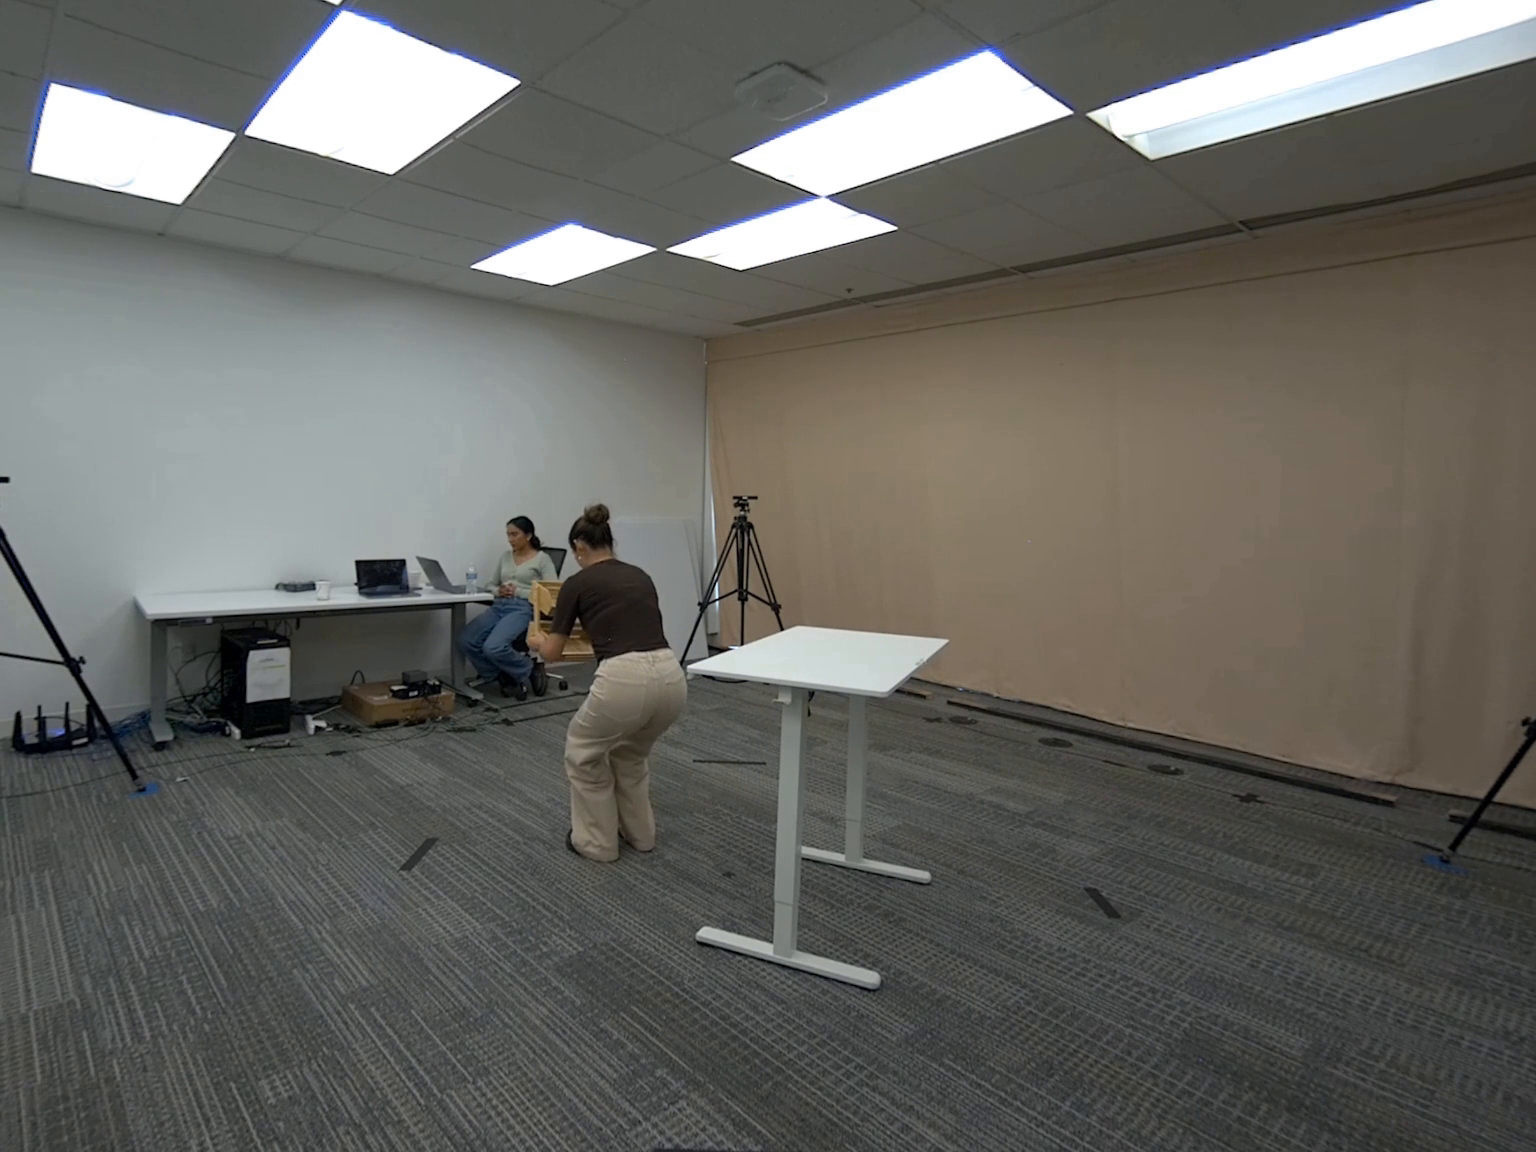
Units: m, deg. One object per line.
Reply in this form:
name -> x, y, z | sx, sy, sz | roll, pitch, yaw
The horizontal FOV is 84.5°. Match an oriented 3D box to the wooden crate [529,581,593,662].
wooden crate -> -0.830, 0.190, 3.587 | 0.316, 0.272, 0.311 | 5, 12, -41
